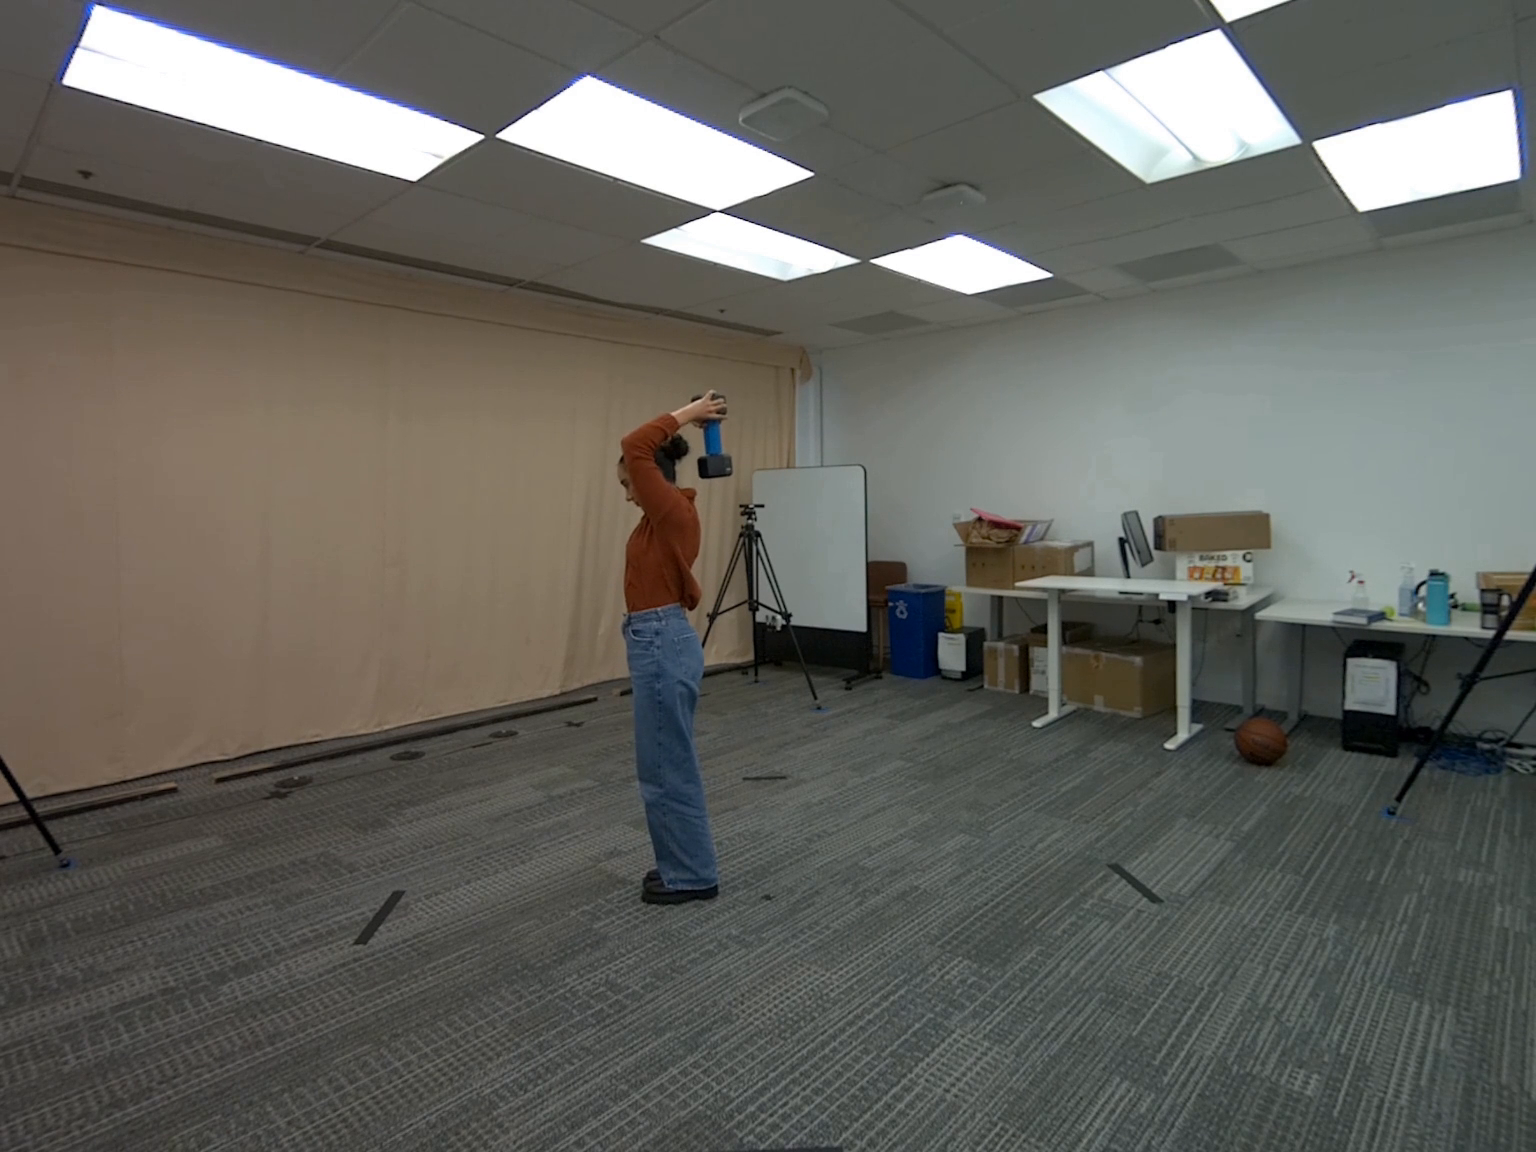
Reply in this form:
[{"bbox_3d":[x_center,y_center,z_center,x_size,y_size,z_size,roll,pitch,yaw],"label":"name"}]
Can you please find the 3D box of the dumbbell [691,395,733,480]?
[{"bbox_3d":[-0.201,-0.493,2.951,0.121,0.292,0.111,-5,6,-16],"label":"dumbbell"}]
